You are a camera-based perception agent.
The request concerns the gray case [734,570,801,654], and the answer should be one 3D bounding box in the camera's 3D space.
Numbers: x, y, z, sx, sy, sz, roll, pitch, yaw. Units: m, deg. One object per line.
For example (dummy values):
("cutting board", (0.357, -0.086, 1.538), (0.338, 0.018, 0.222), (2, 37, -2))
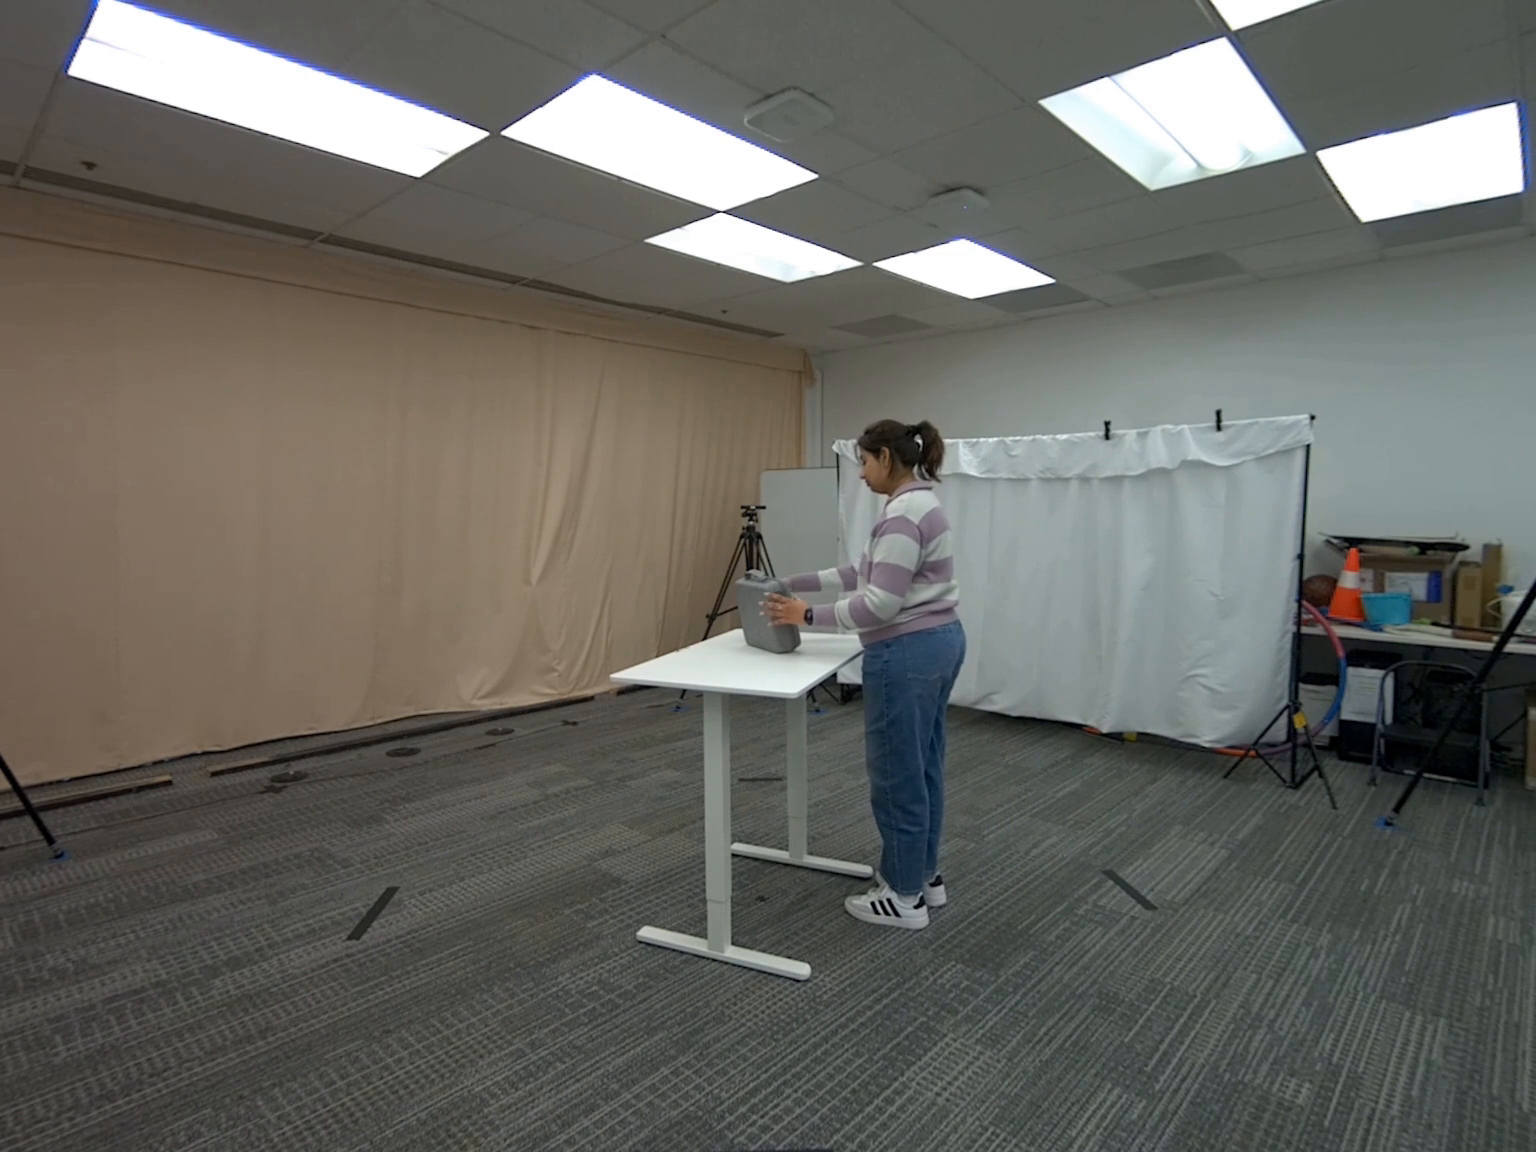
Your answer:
("gray case", (-0.003, 0.131, 2.977), (0.102, 0.258, 0.264), (-18, 11, -25))
